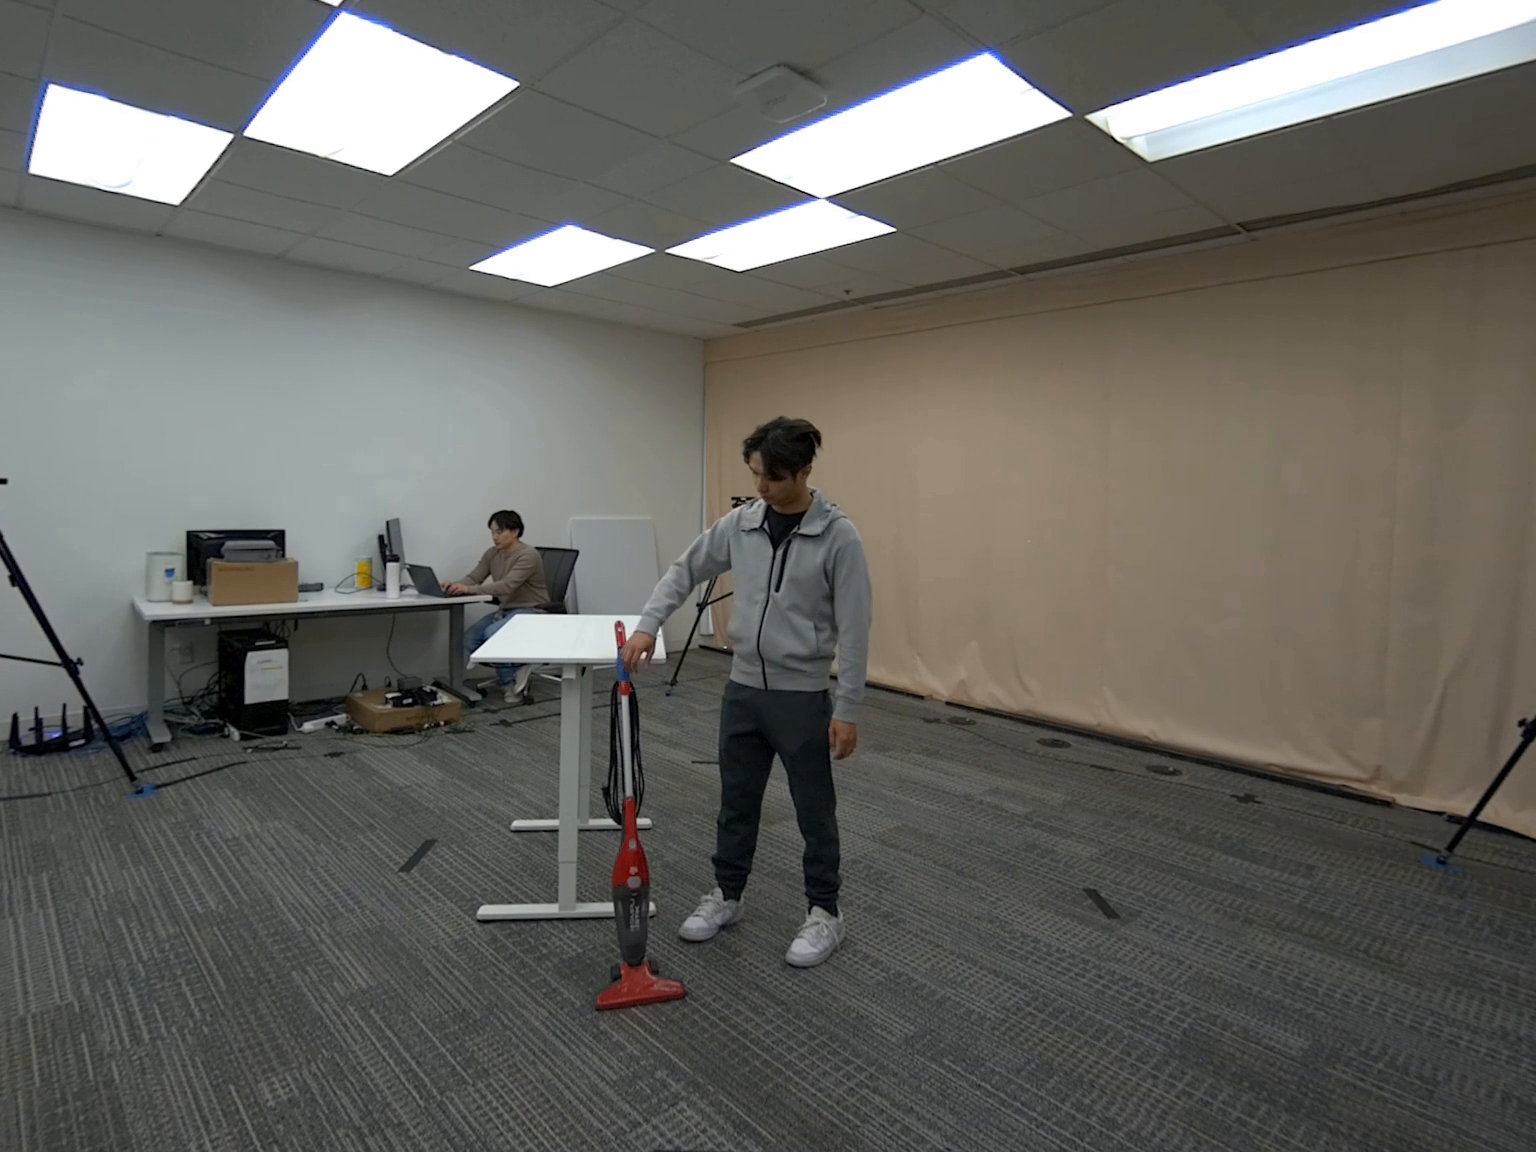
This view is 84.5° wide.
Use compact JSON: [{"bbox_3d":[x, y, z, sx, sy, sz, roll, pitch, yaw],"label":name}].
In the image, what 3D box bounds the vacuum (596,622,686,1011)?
[{"bbox_3d":[-0.434,0.671,2.517,0.248,1.064,0.144,0,-18,-22],"label":"vacuum"}]
